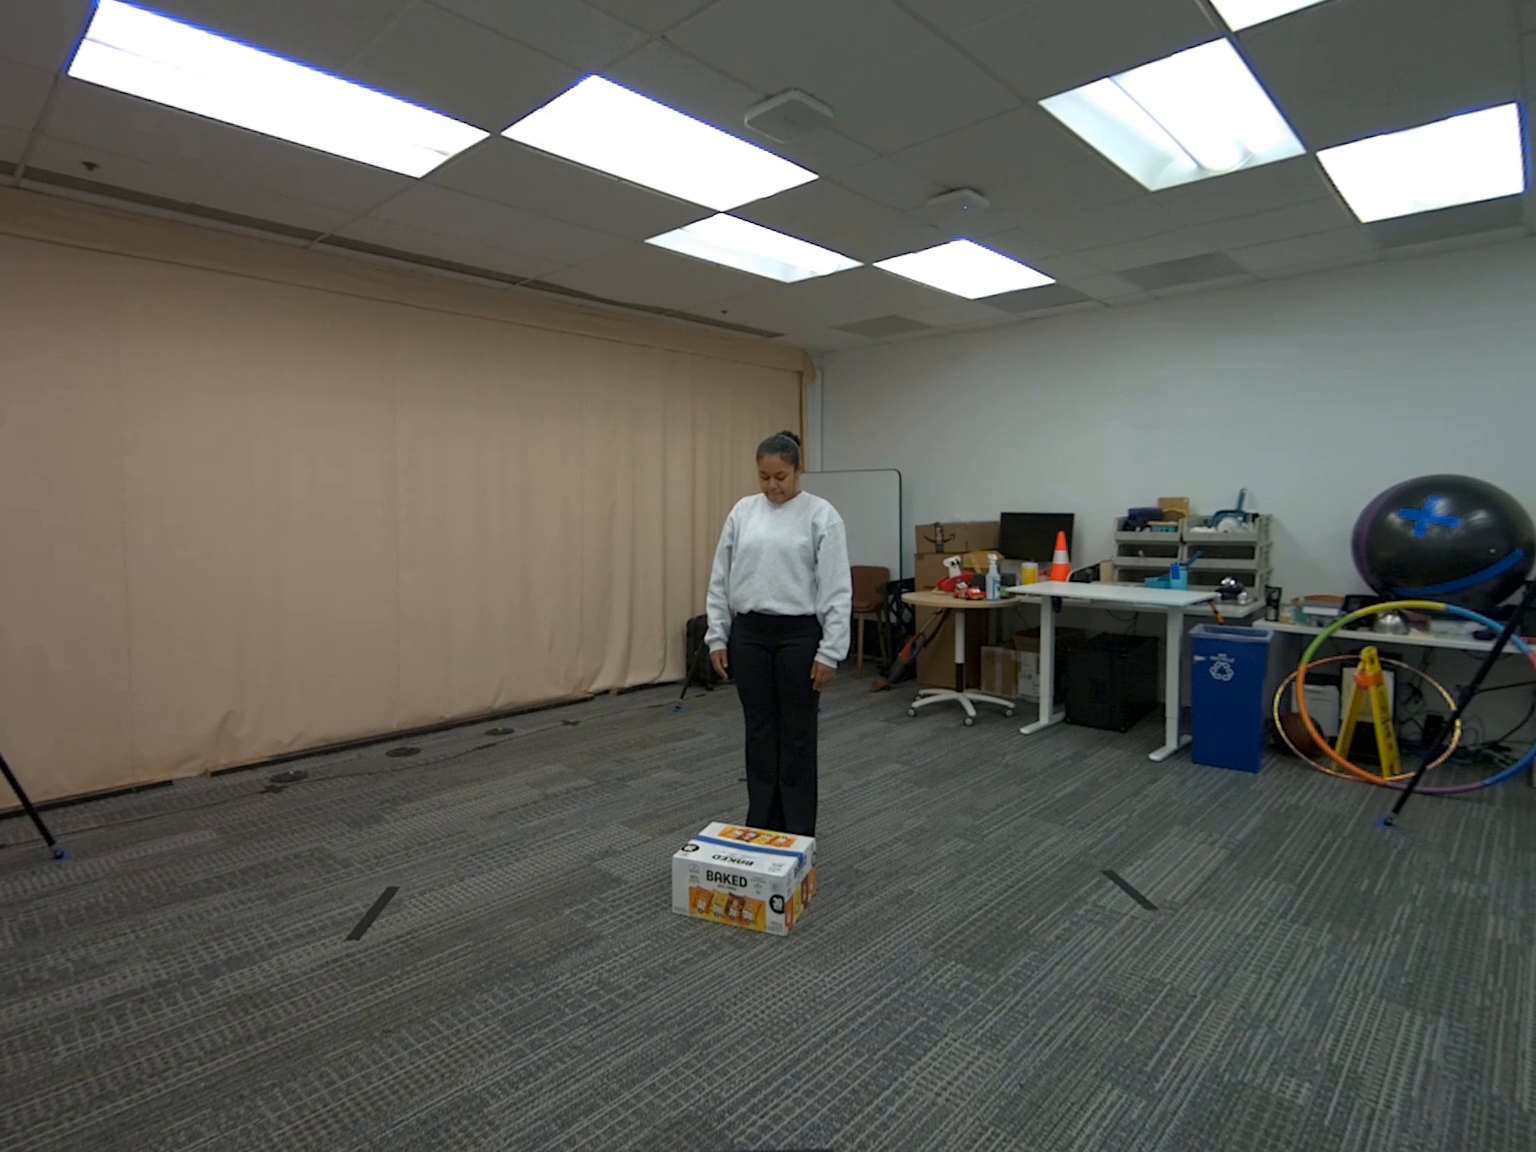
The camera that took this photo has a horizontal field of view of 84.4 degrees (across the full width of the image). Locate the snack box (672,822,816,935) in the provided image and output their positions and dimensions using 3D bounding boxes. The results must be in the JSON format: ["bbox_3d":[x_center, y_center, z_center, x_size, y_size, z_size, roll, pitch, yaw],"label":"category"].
[{"bbox_3d":[-0.076,1.047,2.937,0.415,0.205,0.333,2,4,22],"label":"snack box"}]
